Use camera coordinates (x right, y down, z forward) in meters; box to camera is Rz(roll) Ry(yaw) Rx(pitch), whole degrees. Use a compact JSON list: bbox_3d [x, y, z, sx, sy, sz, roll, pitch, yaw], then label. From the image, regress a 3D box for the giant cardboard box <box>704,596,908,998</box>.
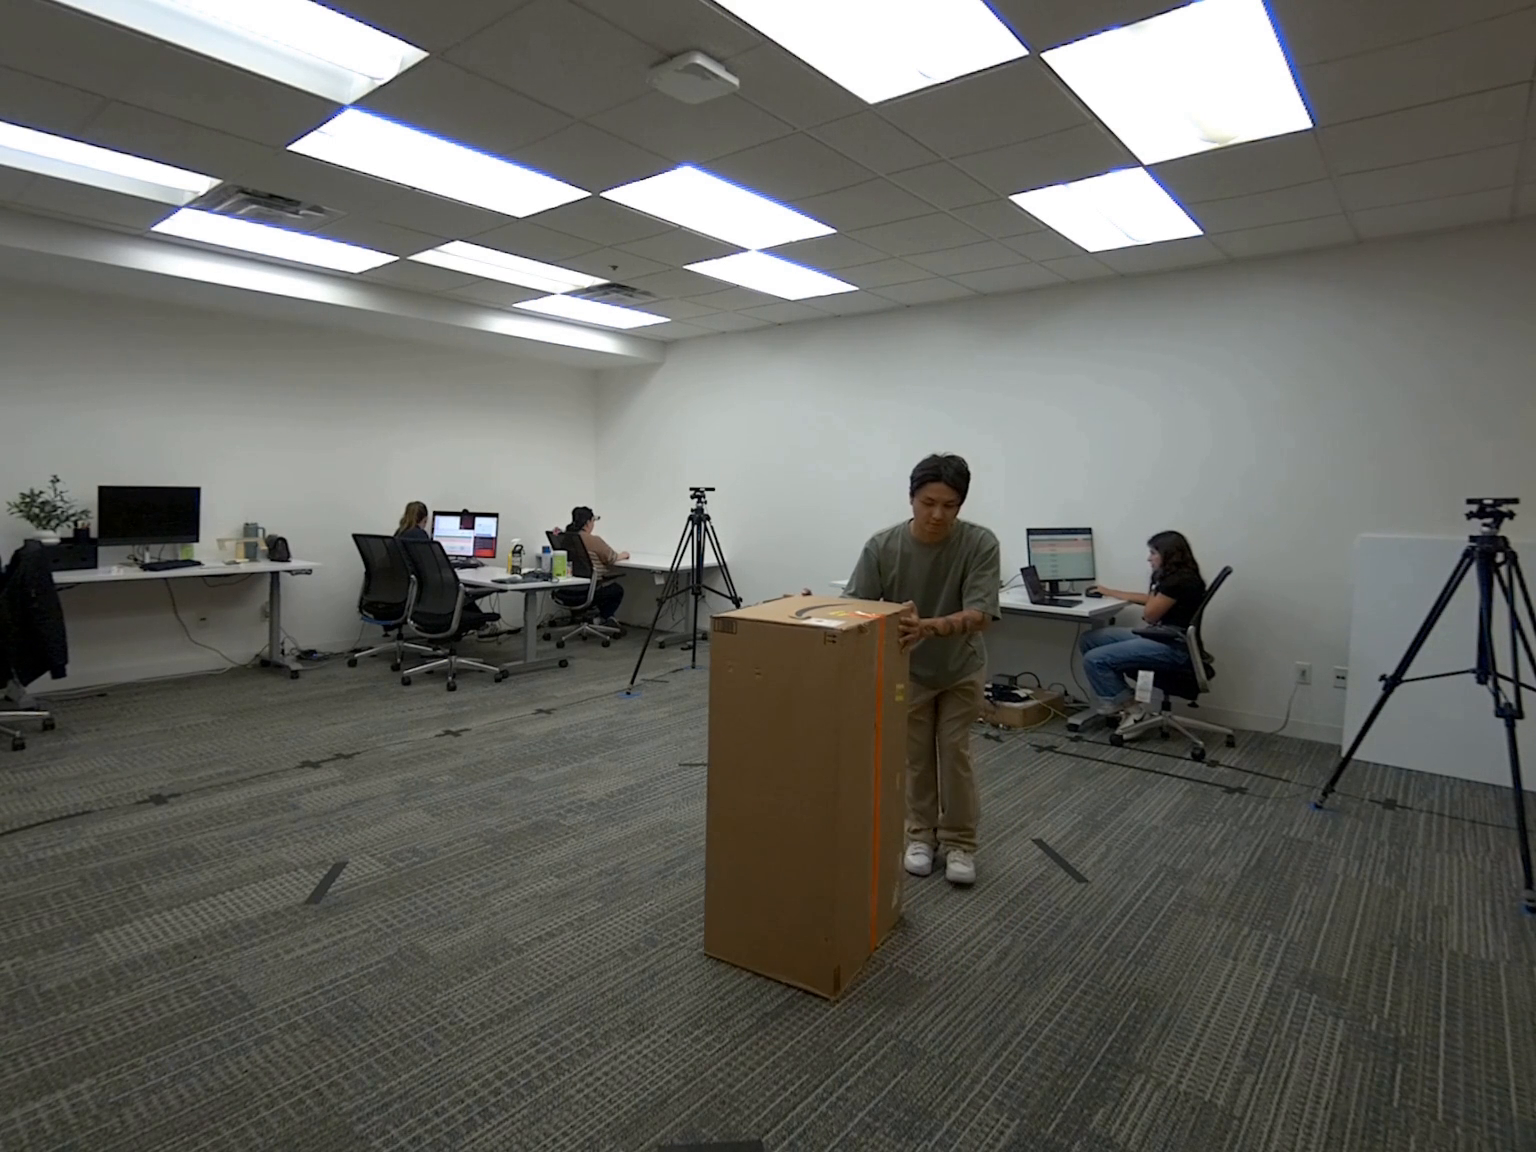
[{"bbox_3d":[0.131,0.613,2.630,0.438,1.023,0.563,3,4,29],"label":"giant cardboard box"}]
